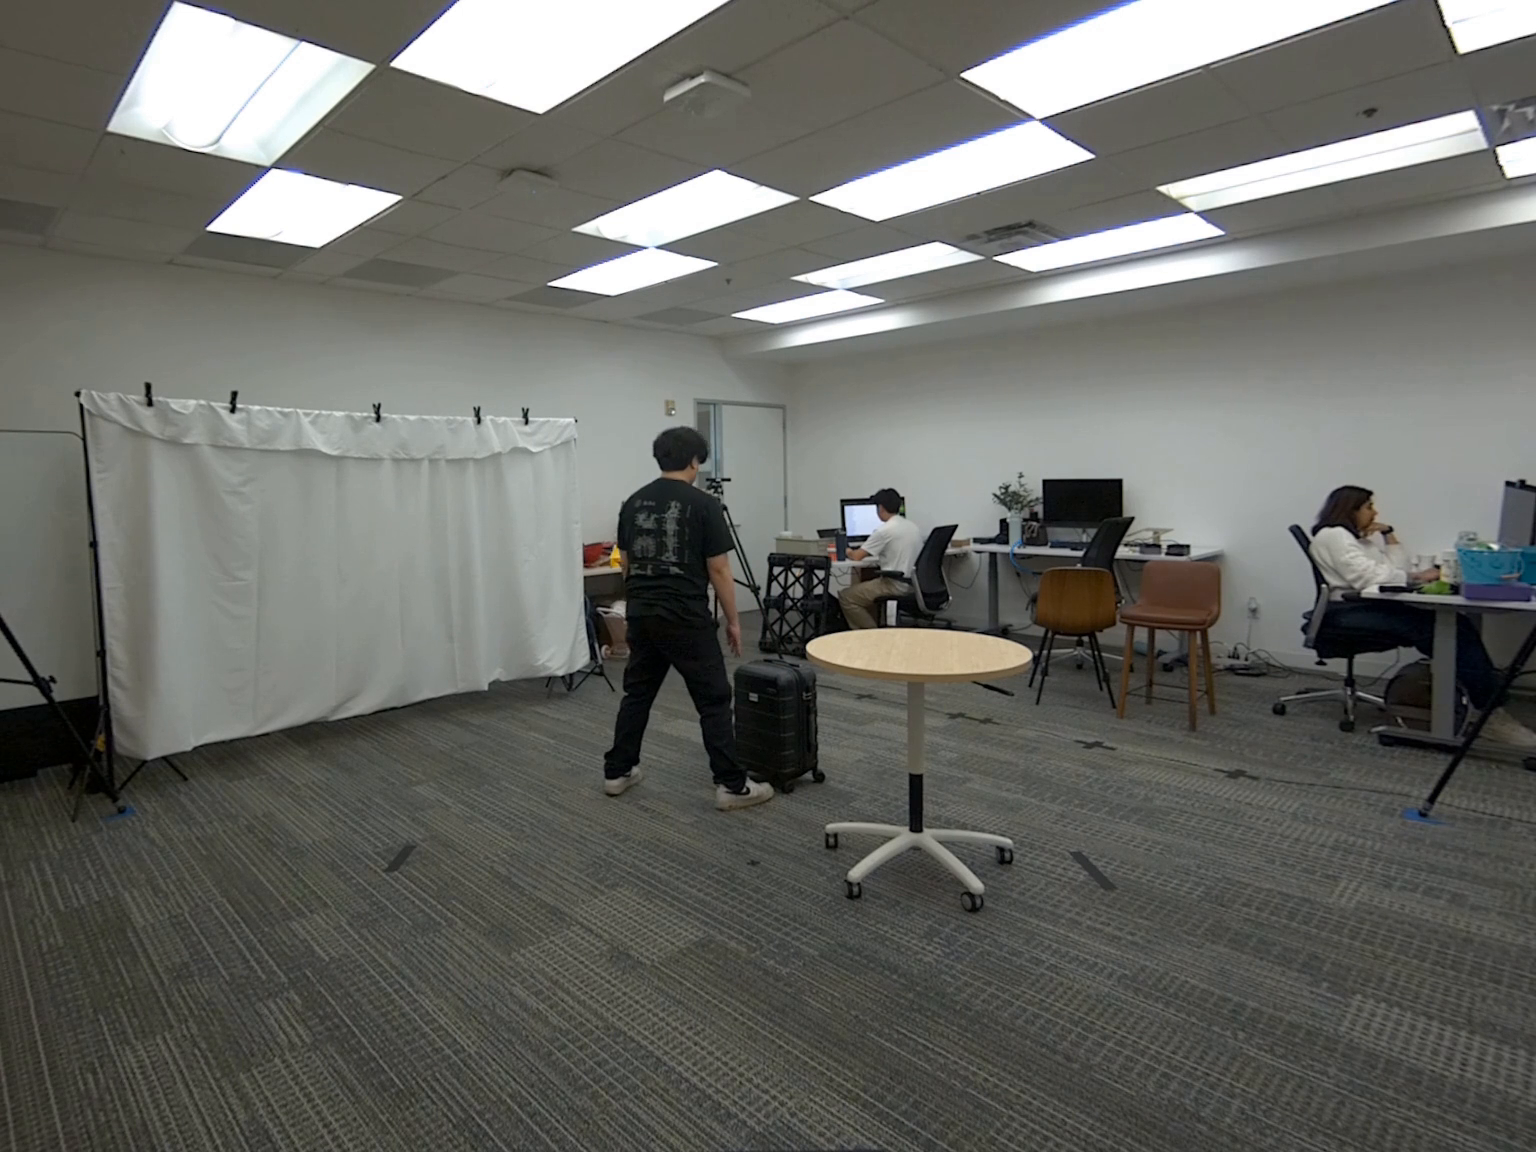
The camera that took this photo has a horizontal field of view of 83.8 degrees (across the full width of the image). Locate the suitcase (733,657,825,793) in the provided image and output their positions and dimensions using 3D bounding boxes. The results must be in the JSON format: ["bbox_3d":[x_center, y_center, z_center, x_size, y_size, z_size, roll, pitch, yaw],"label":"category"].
[{"bbox_3d":[0.035,0.673,3.953,0.387,0.547,0.242,3,6,43],"label":"suitcase"}]
